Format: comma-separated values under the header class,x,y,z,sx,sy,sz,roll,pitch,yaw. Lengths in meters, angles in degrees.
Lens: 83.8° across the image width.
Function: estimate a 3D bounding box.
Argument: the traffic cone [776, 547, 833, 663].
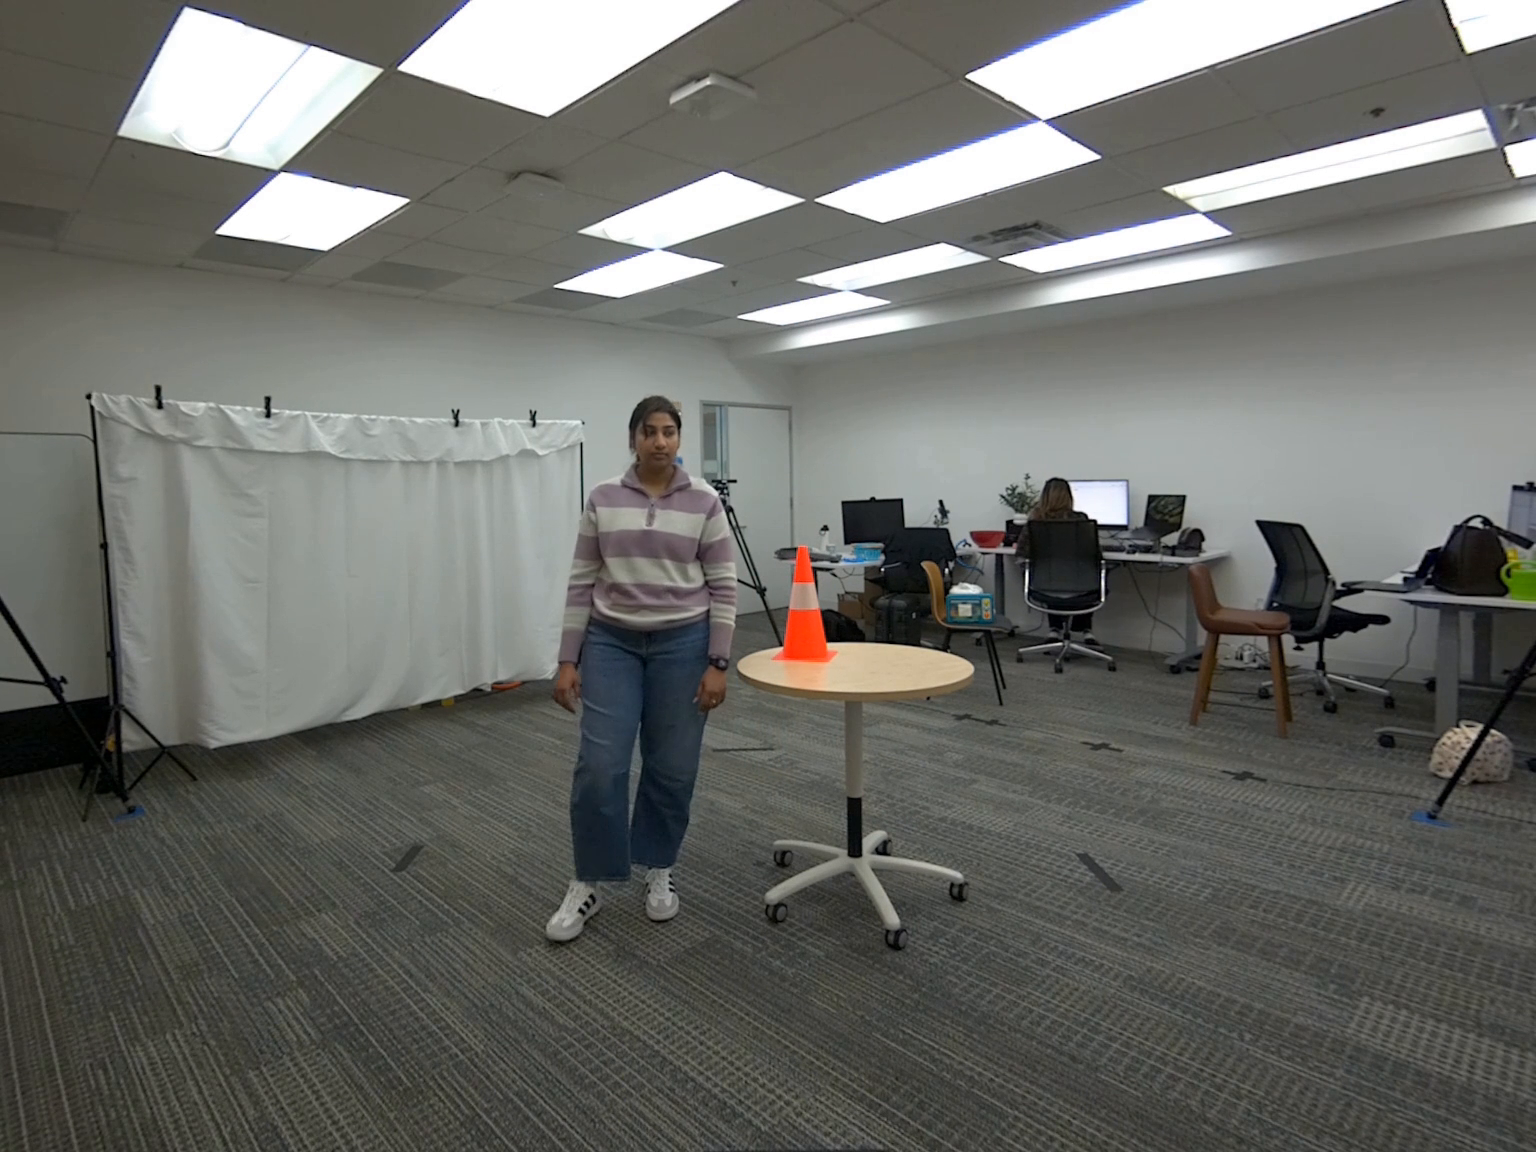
class,x,y,z,sx,sy,sz,roll,pitch,yaw
traffic cone,0.131,0.090,2.959,0.207,0.382,0.202,1,4,19
